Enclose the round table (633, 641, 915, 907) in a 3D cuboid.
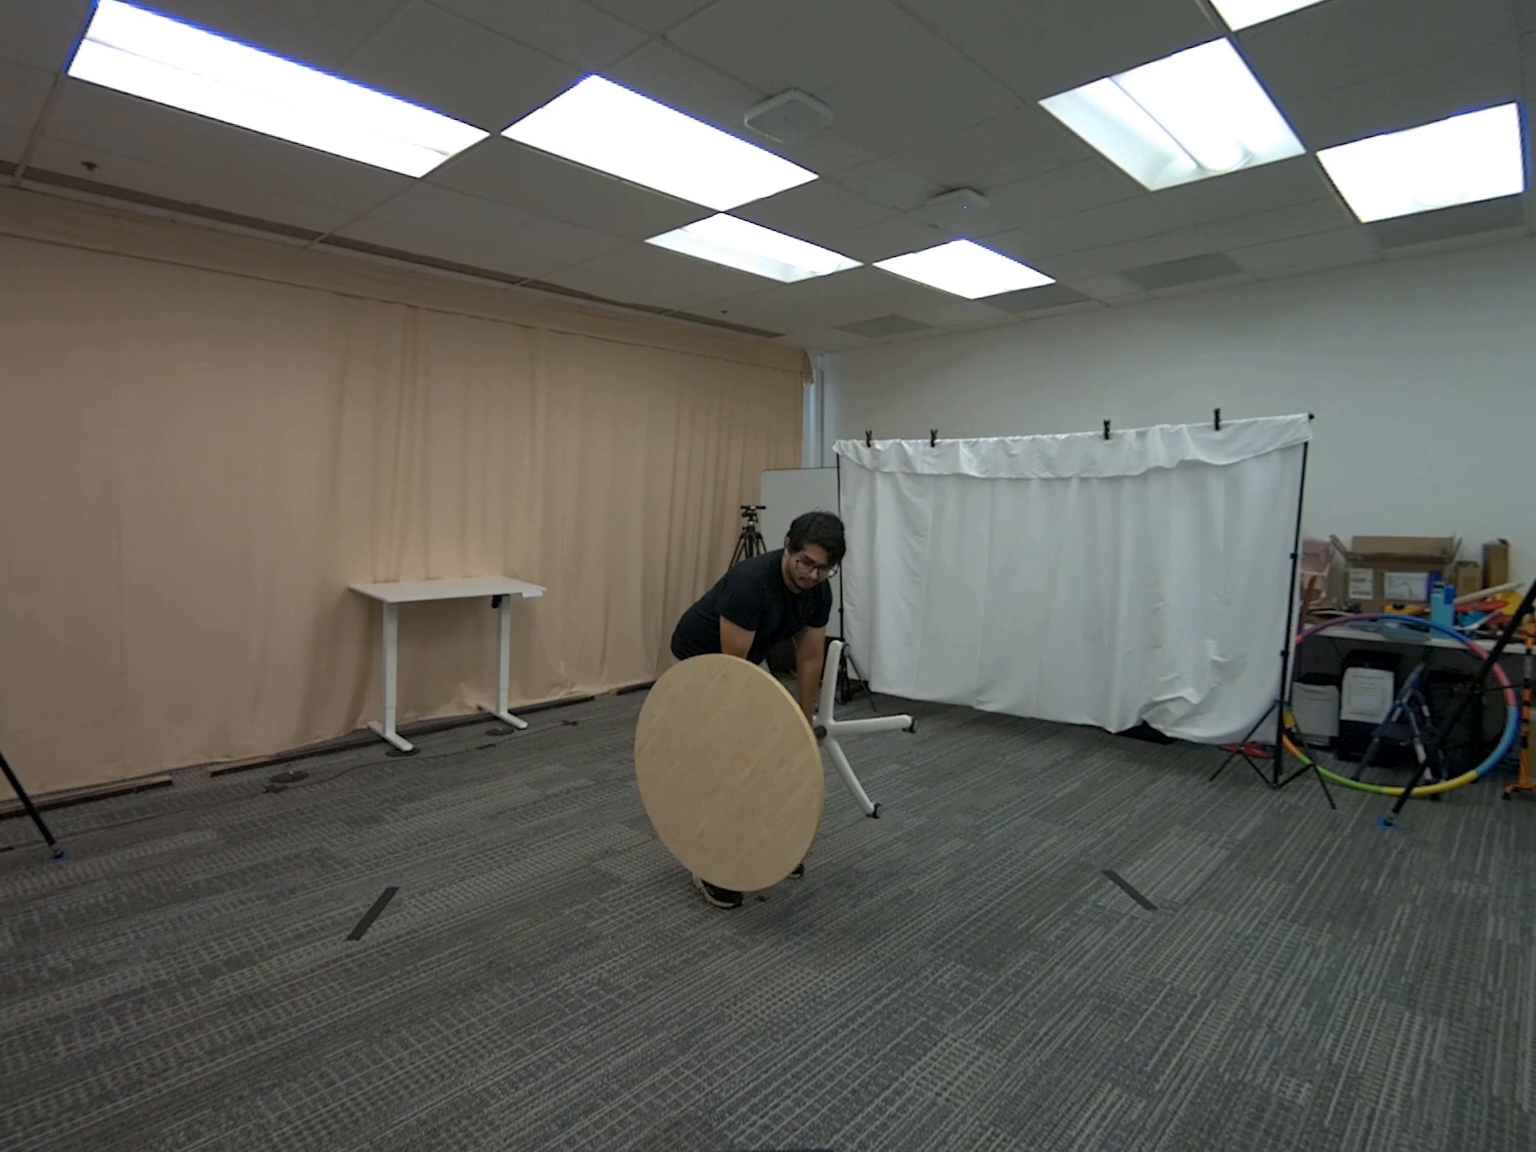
[{"bbox_3d":[0.071,0.624,3.072,0.810,0.783,0.763,3,4,36],"label":"round table"}]
